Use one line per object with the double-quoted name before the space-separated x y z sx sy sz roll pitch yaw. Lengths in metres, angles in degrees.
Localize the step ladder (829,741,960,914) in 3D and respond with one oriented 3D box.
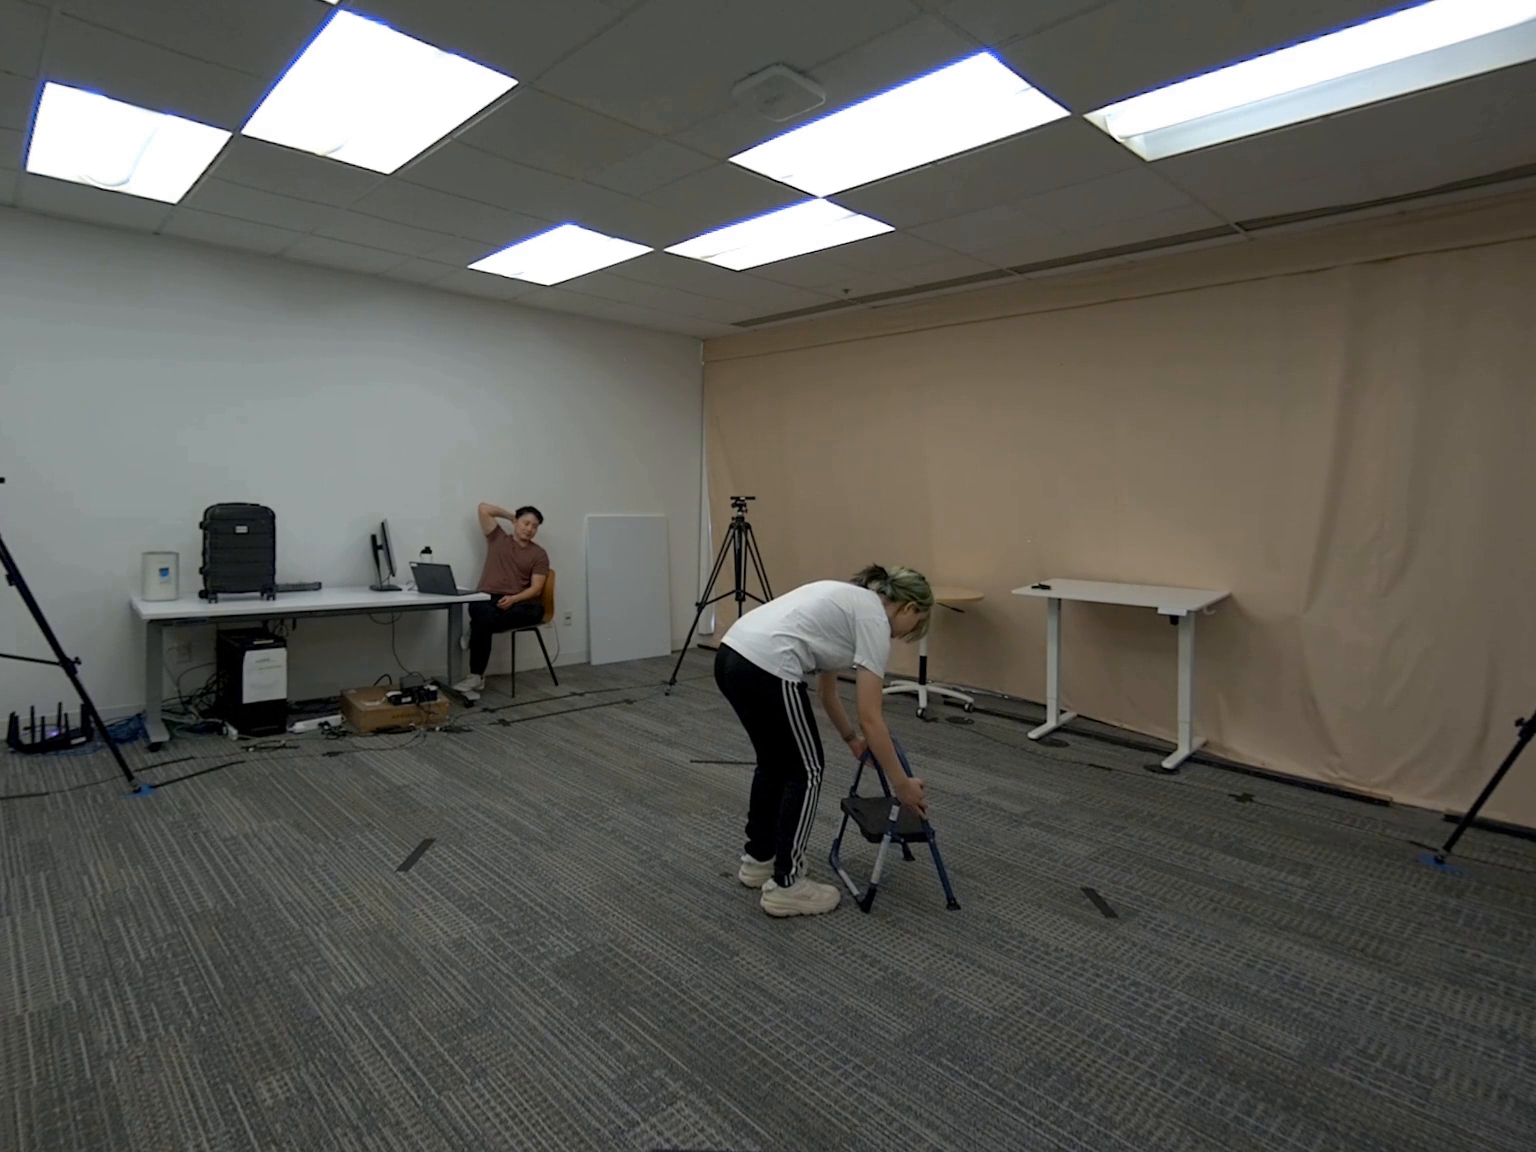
"step ladder" 0.446 0.821 3.052 0.346 0.605 0.436 1 3 -13
